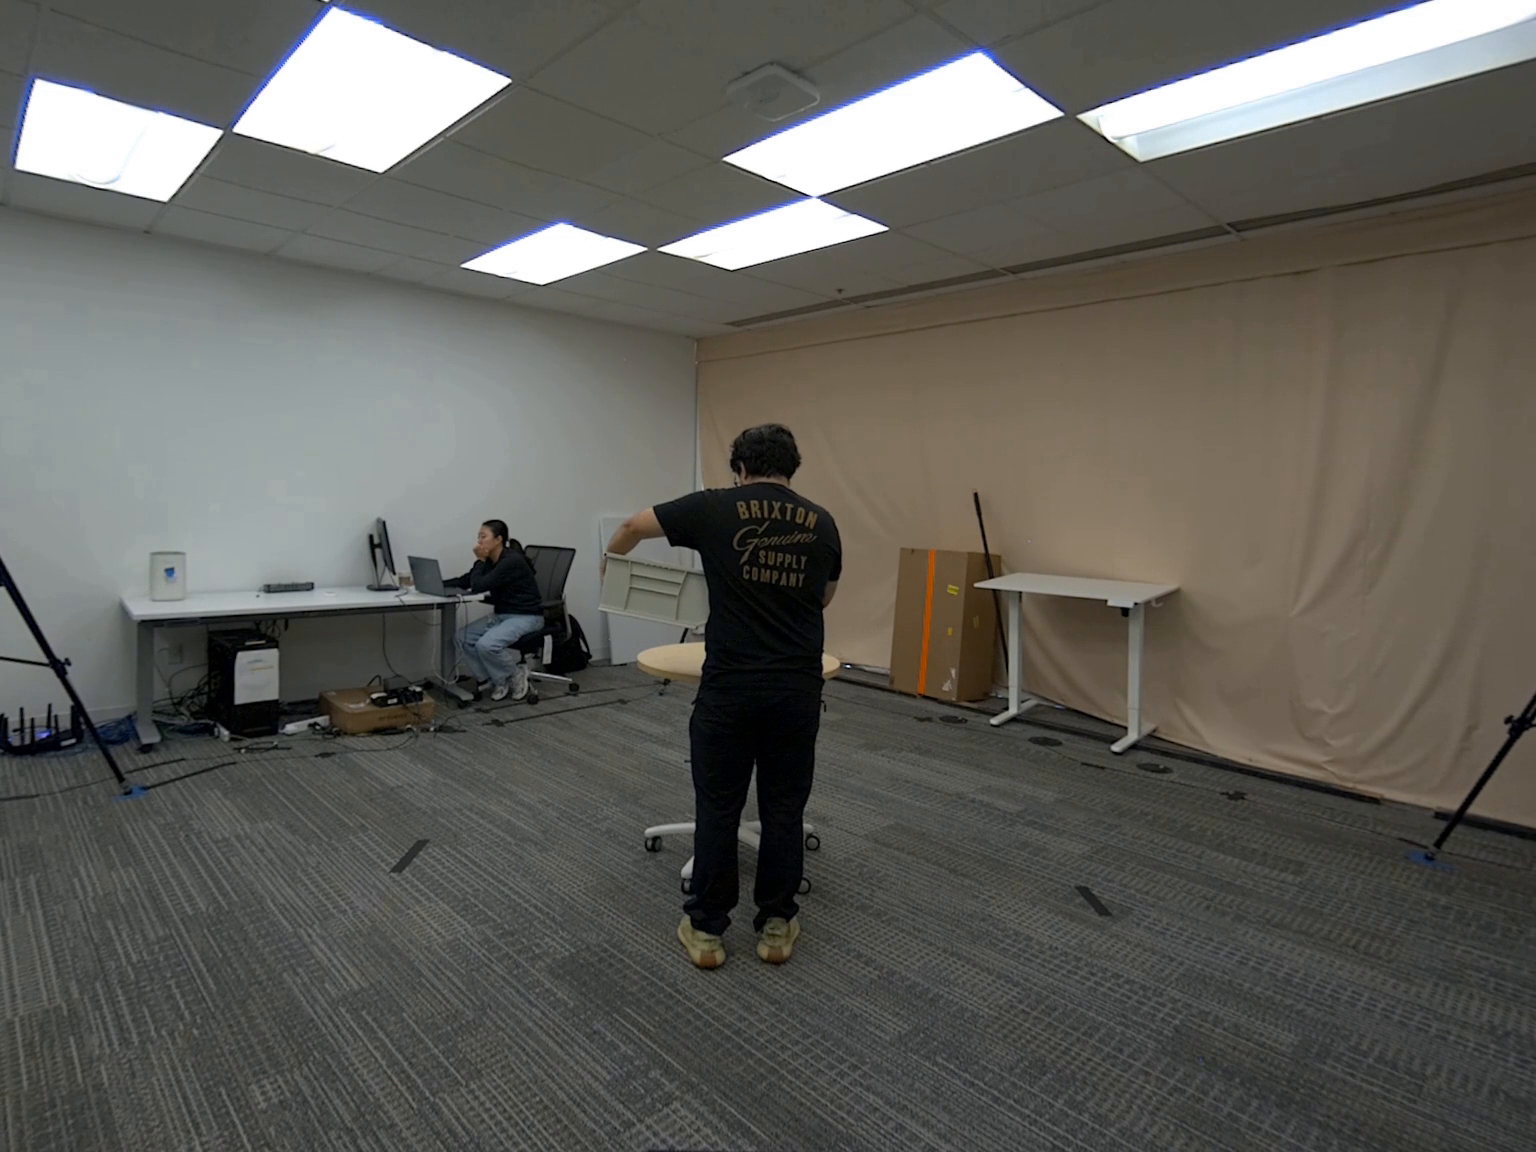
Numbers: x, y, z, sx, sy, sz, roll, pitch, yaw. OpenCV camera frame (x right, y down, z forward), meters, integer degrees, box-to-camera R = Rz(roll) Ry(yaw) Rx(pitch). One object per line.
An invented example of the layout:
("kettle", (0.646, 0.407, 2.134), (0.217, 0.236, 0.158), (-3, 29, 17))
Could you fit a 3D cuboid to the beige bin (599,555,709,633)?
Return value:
("beige bin", (-0.303, 0.065, 2.744), (0.380, 0.189, 0.419), (10, 0, 7))
